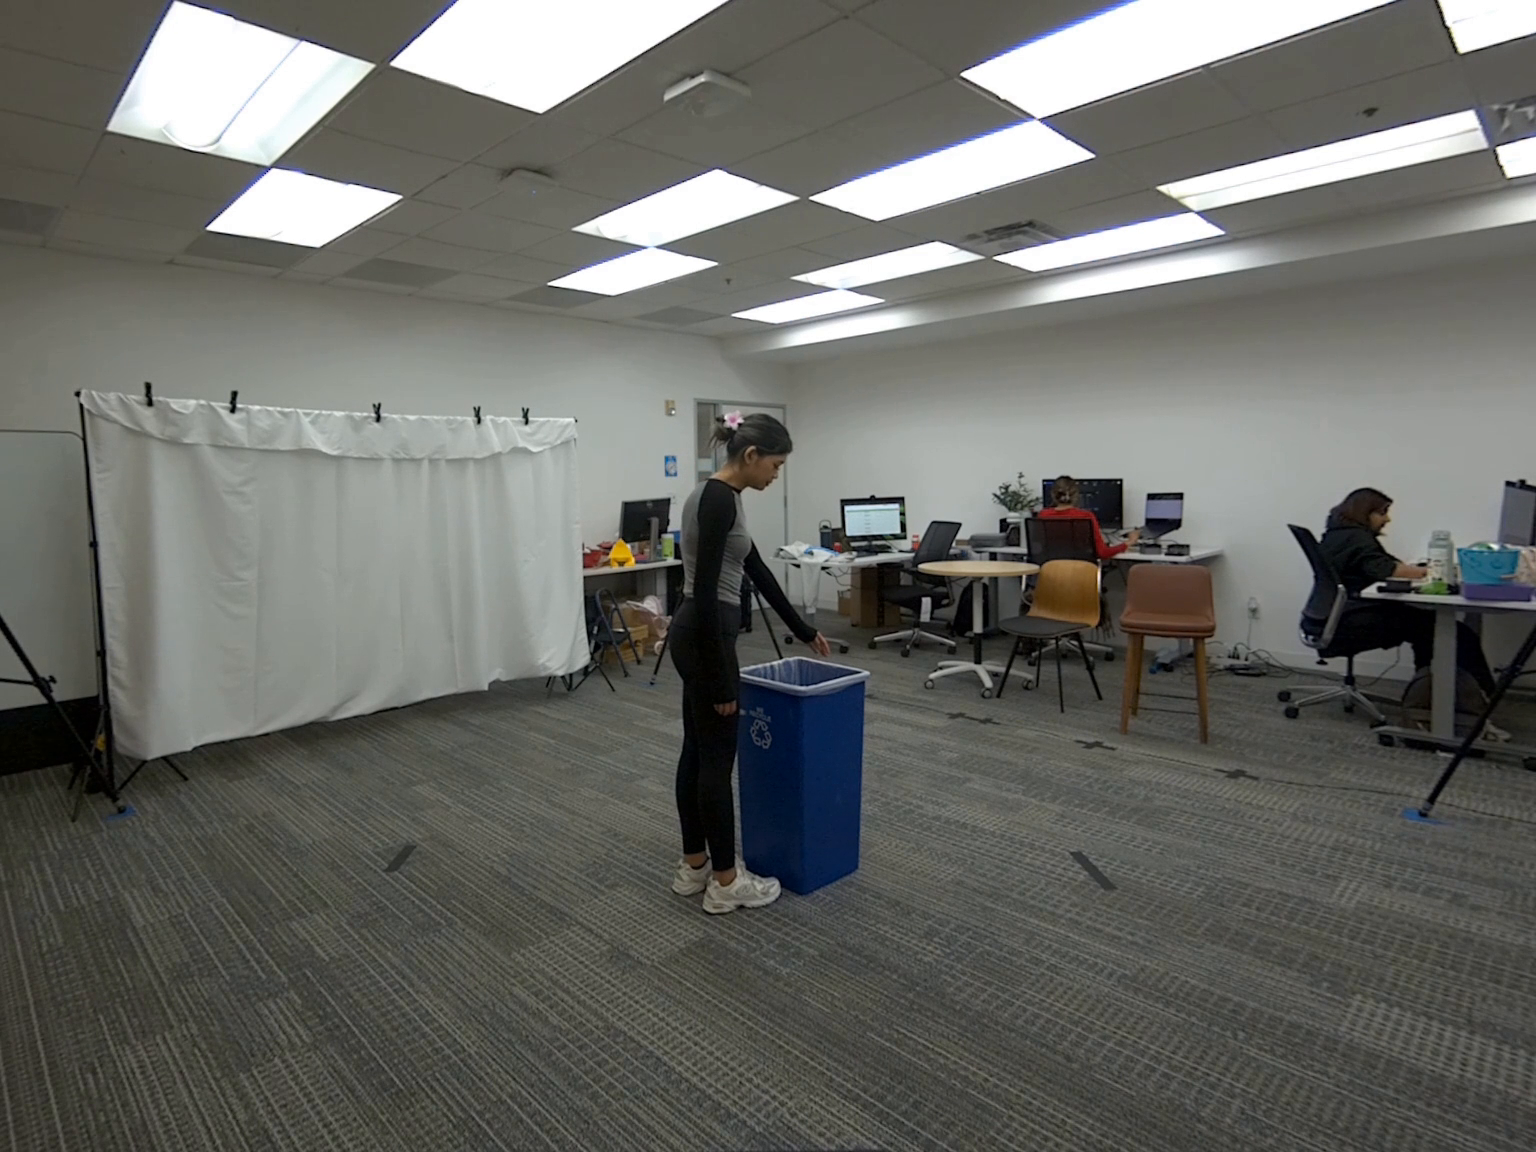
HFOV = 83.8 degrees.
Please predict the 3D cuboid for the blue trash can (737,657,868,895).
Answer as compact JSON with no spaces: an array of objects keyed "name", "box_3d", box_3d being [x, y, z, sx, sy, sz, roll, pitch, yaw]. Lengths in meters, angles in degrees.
[{"name":"blue trash can","box_3d":[0.124,0.691,3.031,0.368,0.711,0.385,-5,6,-43]}]
